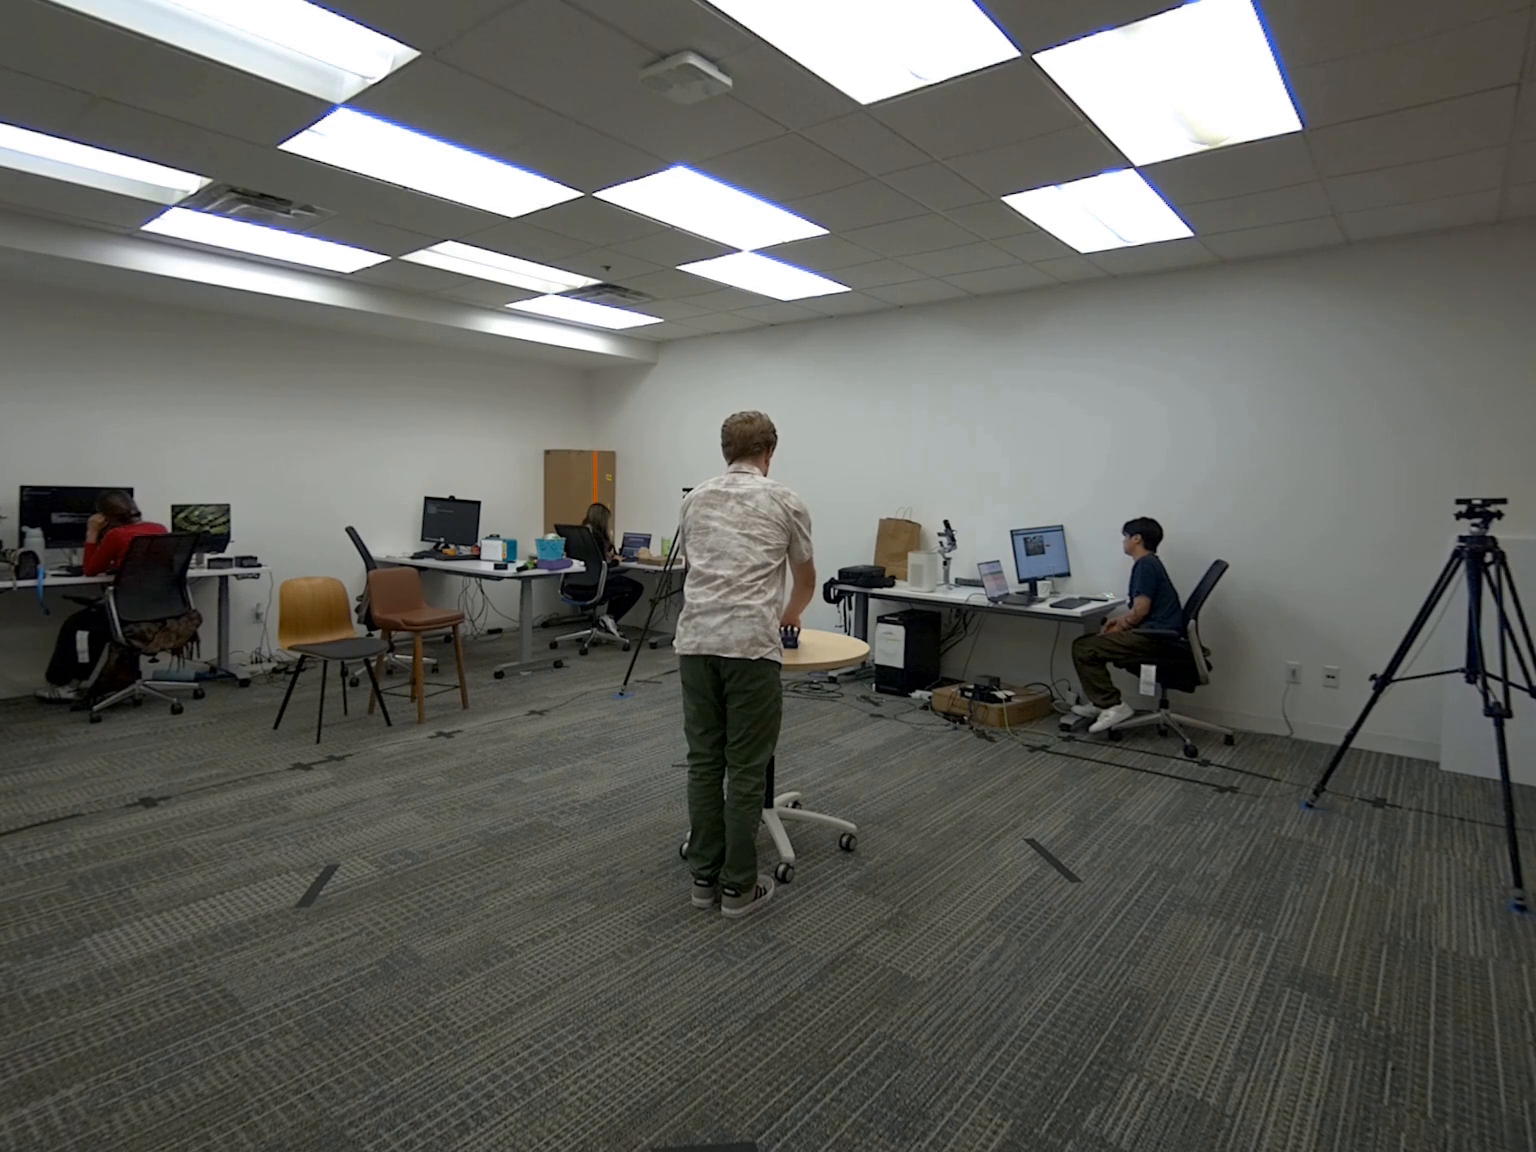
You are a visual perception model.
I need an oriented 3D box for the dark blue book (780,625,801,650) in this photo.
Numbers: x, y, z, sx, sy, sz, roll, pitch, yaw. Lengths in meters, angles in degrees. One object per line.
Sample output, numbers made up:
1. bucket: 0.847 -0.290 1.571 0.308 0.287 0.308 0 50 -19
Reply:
1. dark blue book: -0.001 0.240 3.322 0.247 0.045 0.163 1 6 7
